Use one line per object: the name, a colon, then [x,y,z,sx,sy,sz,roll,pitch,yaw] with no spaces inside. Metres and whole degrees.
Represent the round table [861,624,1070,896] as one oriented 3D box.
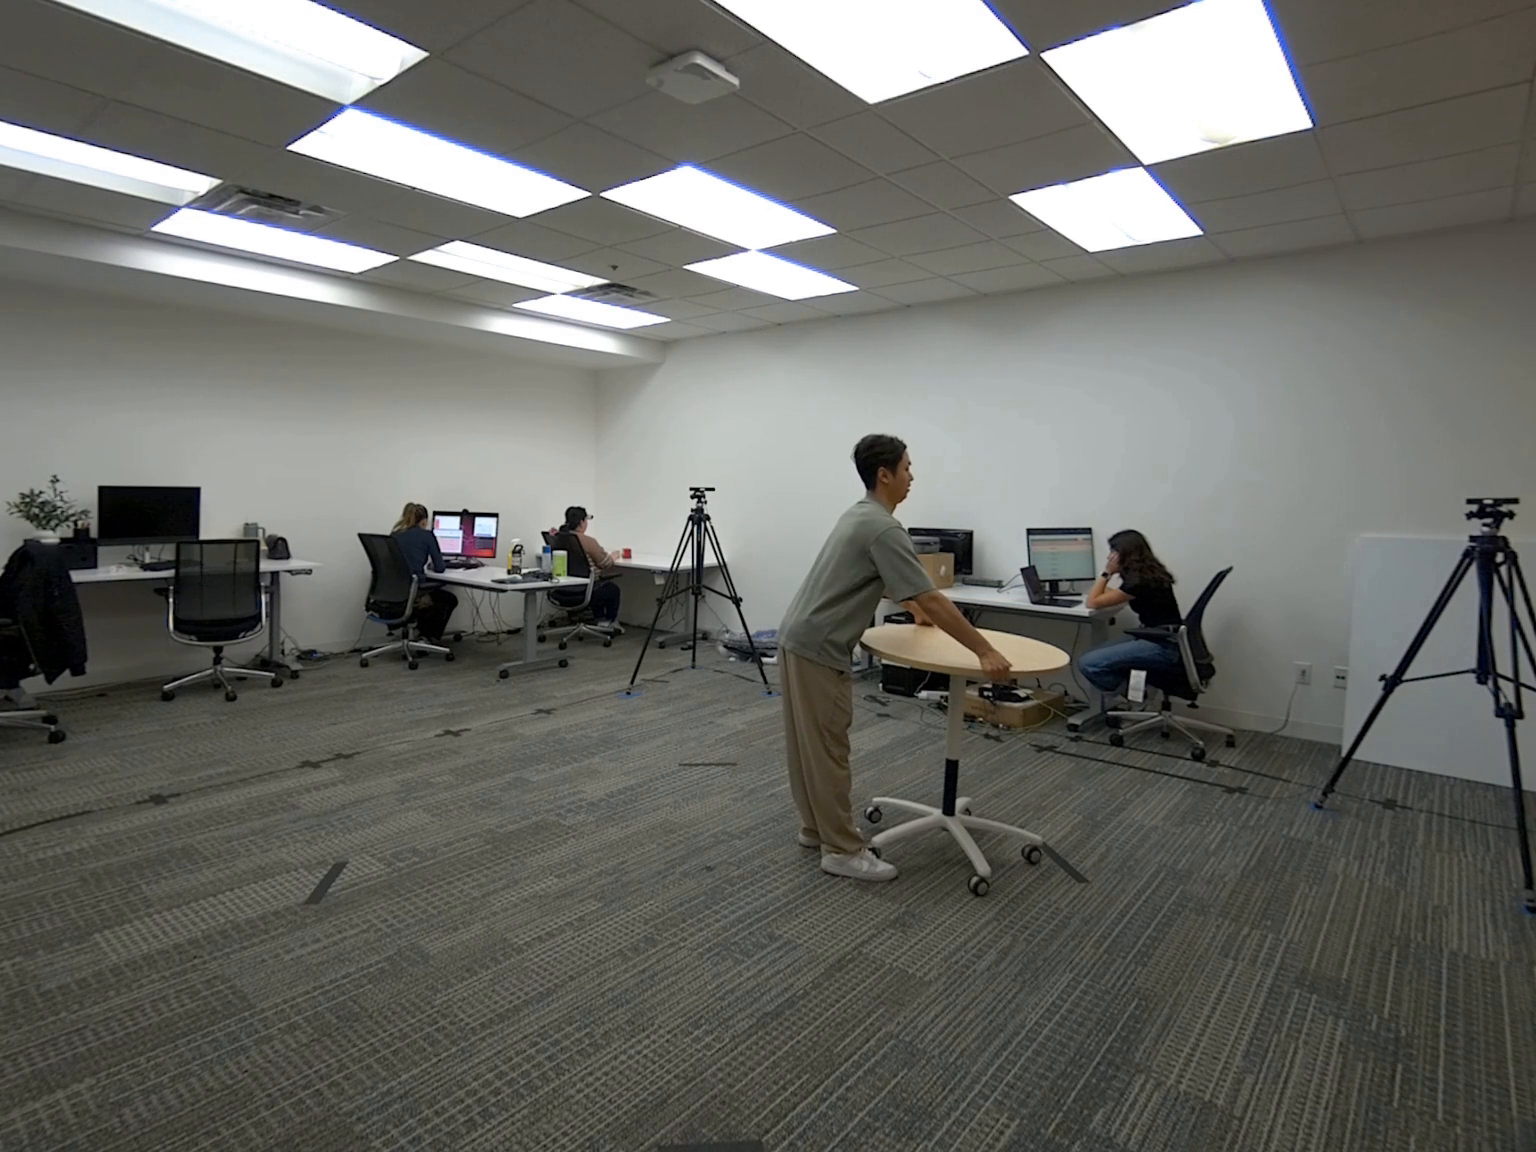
round table: [0.699,0.655,3.247,0.784,0.783,0.790,3,6,-2]
